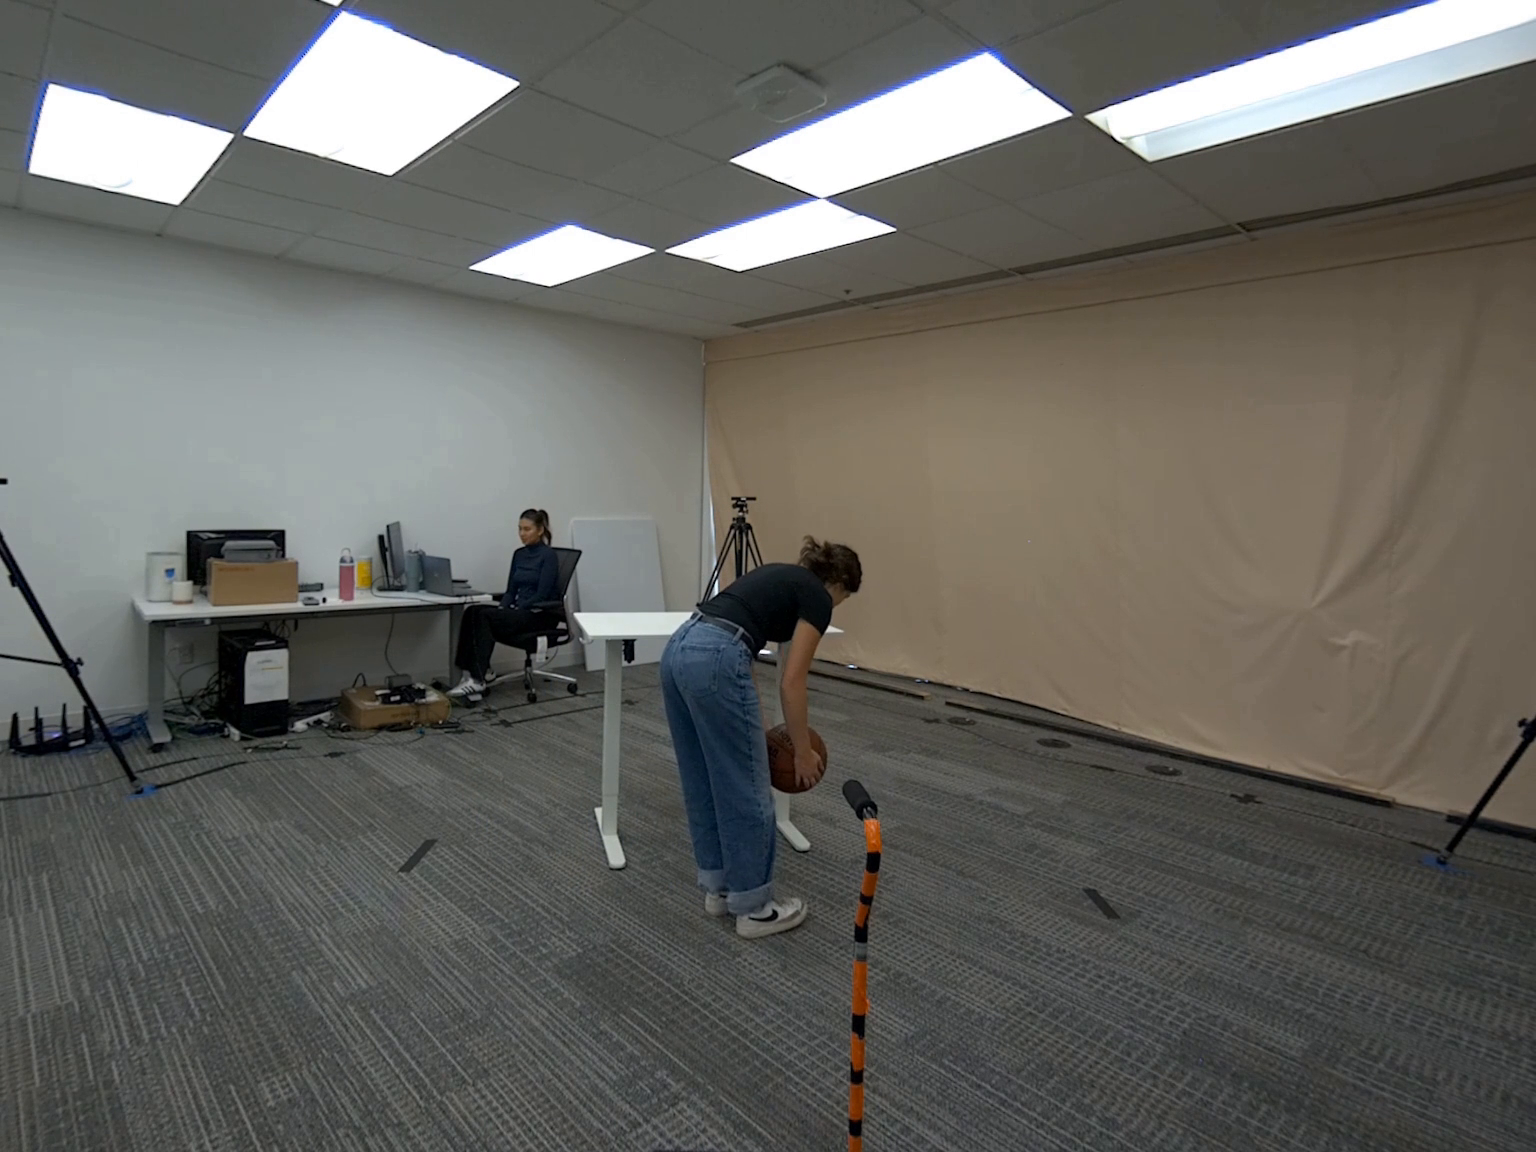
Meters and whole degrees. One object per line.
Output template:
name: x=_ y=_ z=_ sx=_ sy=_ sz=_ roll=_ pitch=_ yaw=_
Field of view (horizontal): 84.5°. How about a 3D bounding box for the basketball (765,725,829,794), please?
basketball: x=0.070 y=0.626 z=2.887 sx=0.236 sy=0.235 sz=0.237 roll=1 pitch=4 yaw=-1
